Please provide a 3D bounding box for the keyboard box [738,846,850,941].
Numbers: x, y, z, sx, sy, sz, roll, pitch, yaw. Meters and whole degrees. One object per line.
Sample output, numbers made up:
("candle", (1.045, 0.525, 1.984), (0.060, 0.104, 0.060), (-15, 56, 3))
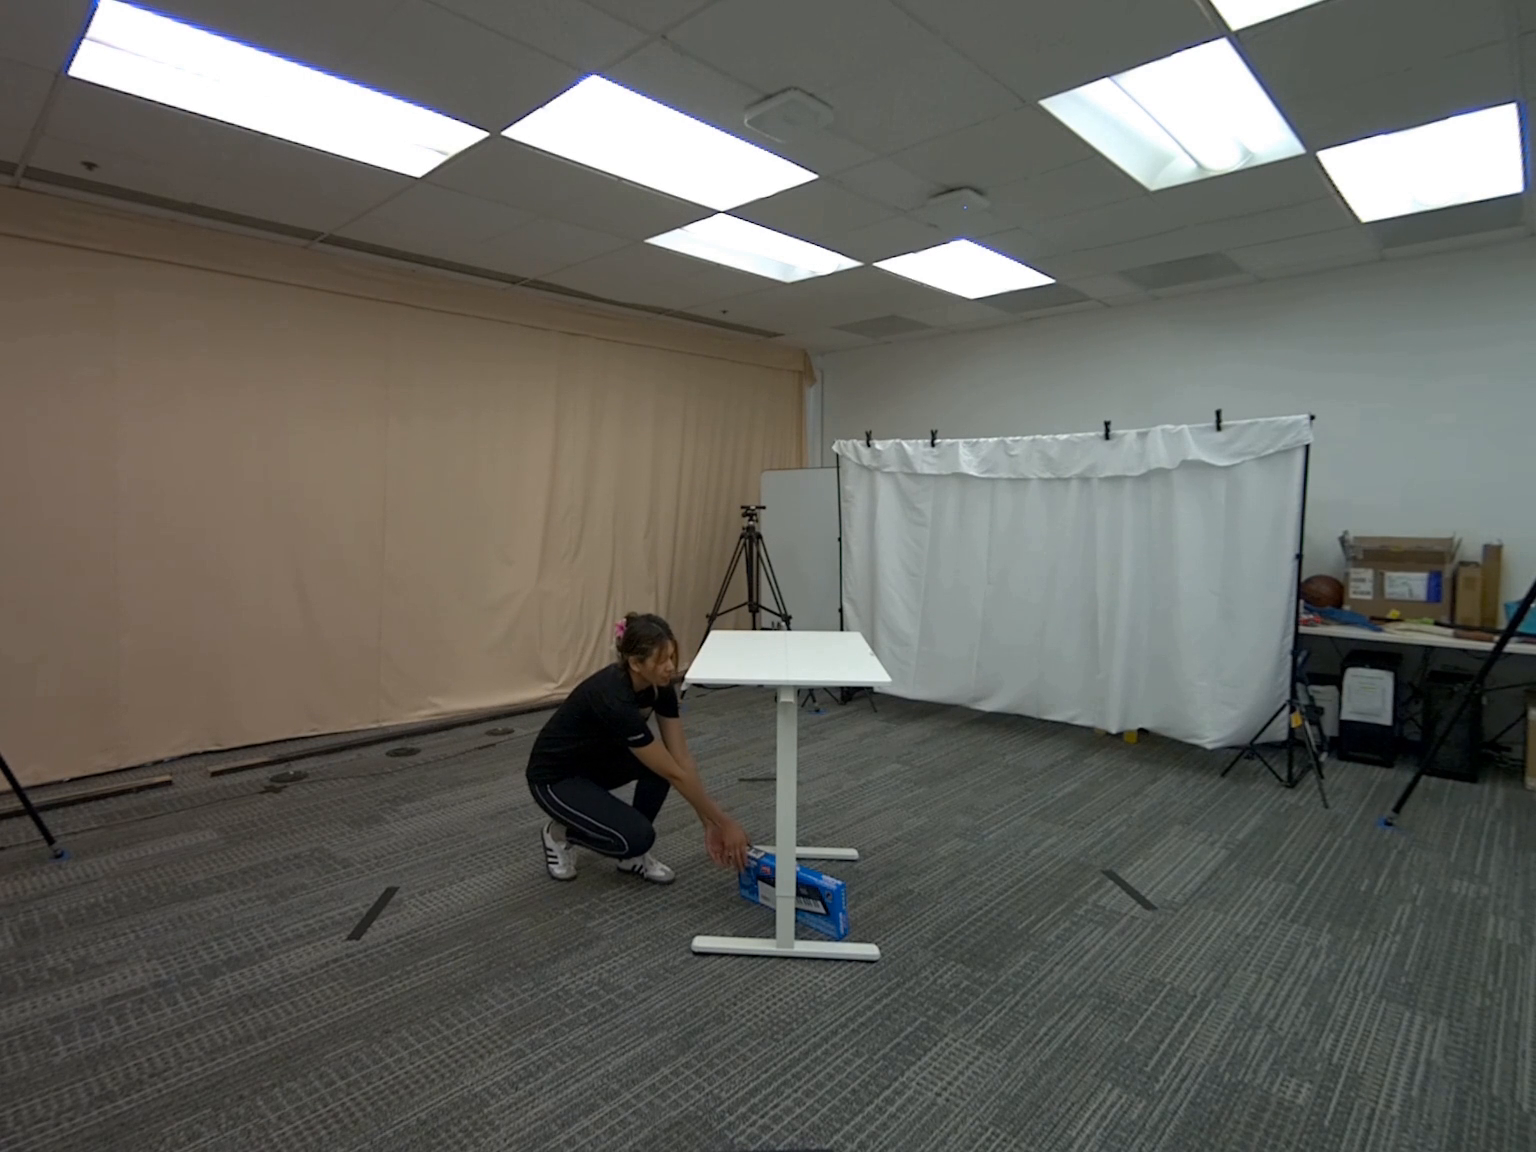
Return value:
("keyboard box", (0.082, 1.069, 2.857), (0.451, 0.175, 0.057), (3, 12, 43))
